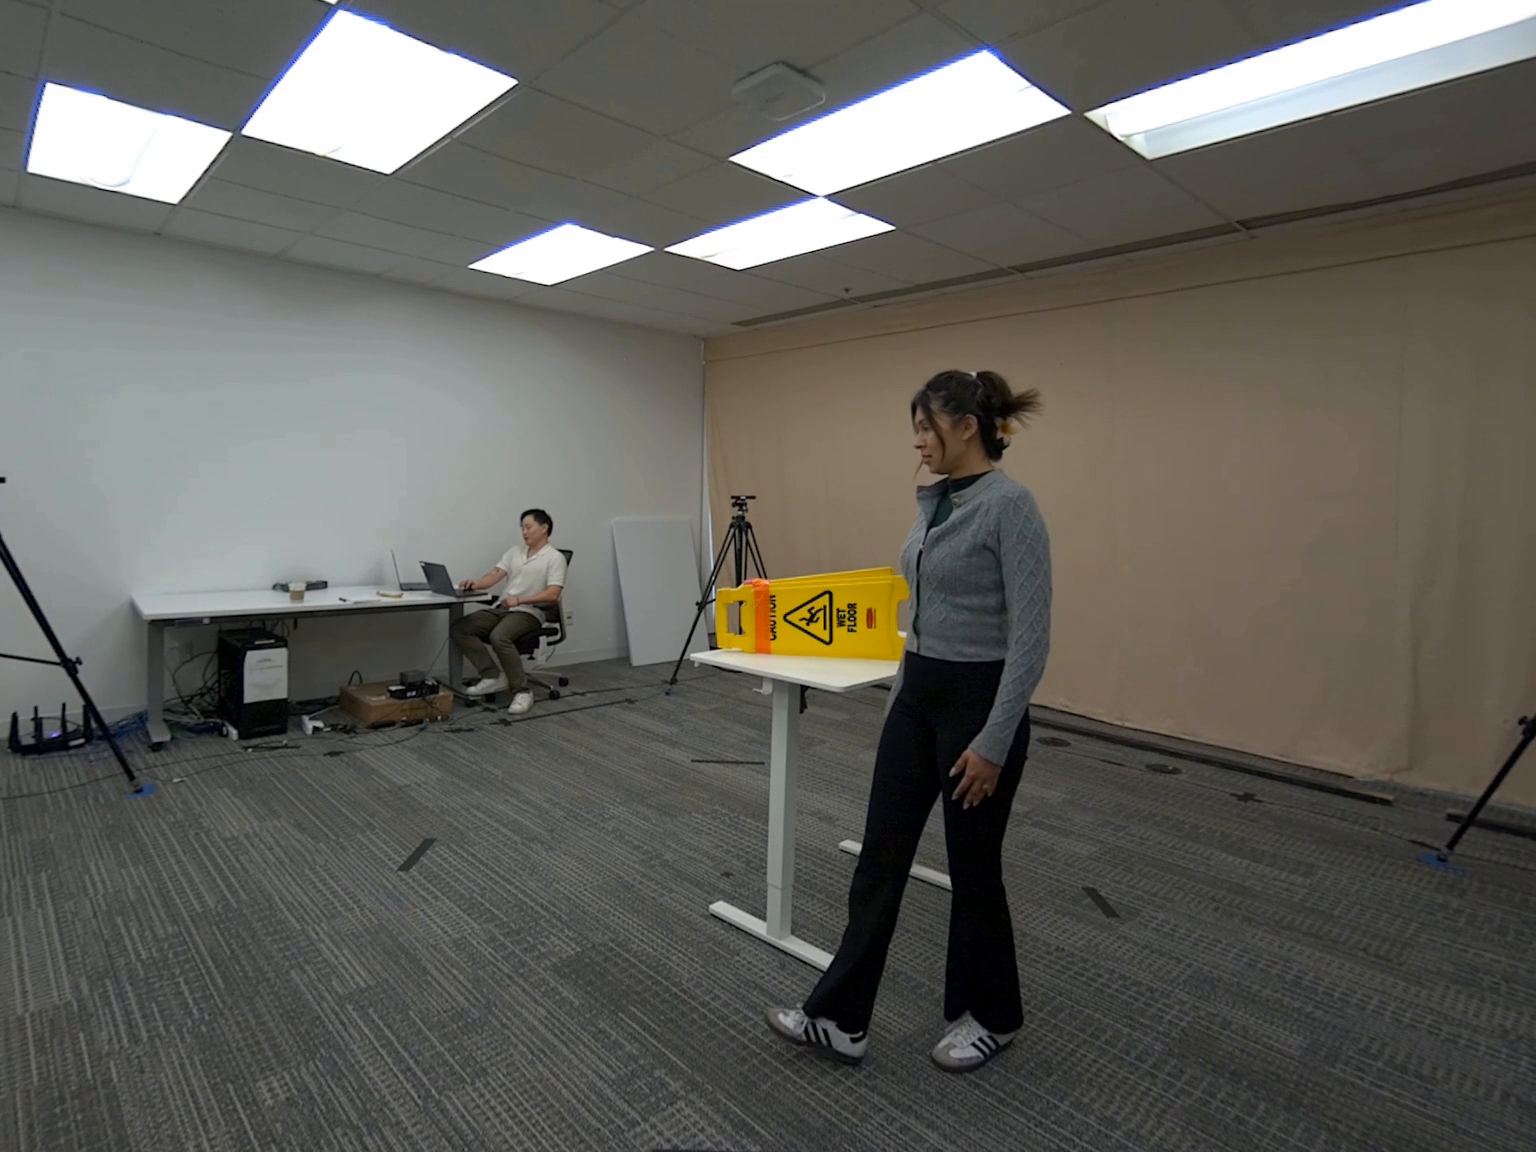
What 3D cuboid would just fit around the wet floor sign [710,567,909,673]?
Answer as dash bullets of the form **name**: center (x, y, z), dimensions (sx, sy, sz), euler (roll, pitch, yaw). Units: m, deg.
- **wet floor sign**: center (0.147, 0.134, 2.795), dimensions (0.642, 0.281, 0.292), euler (-2, 4, -8)
